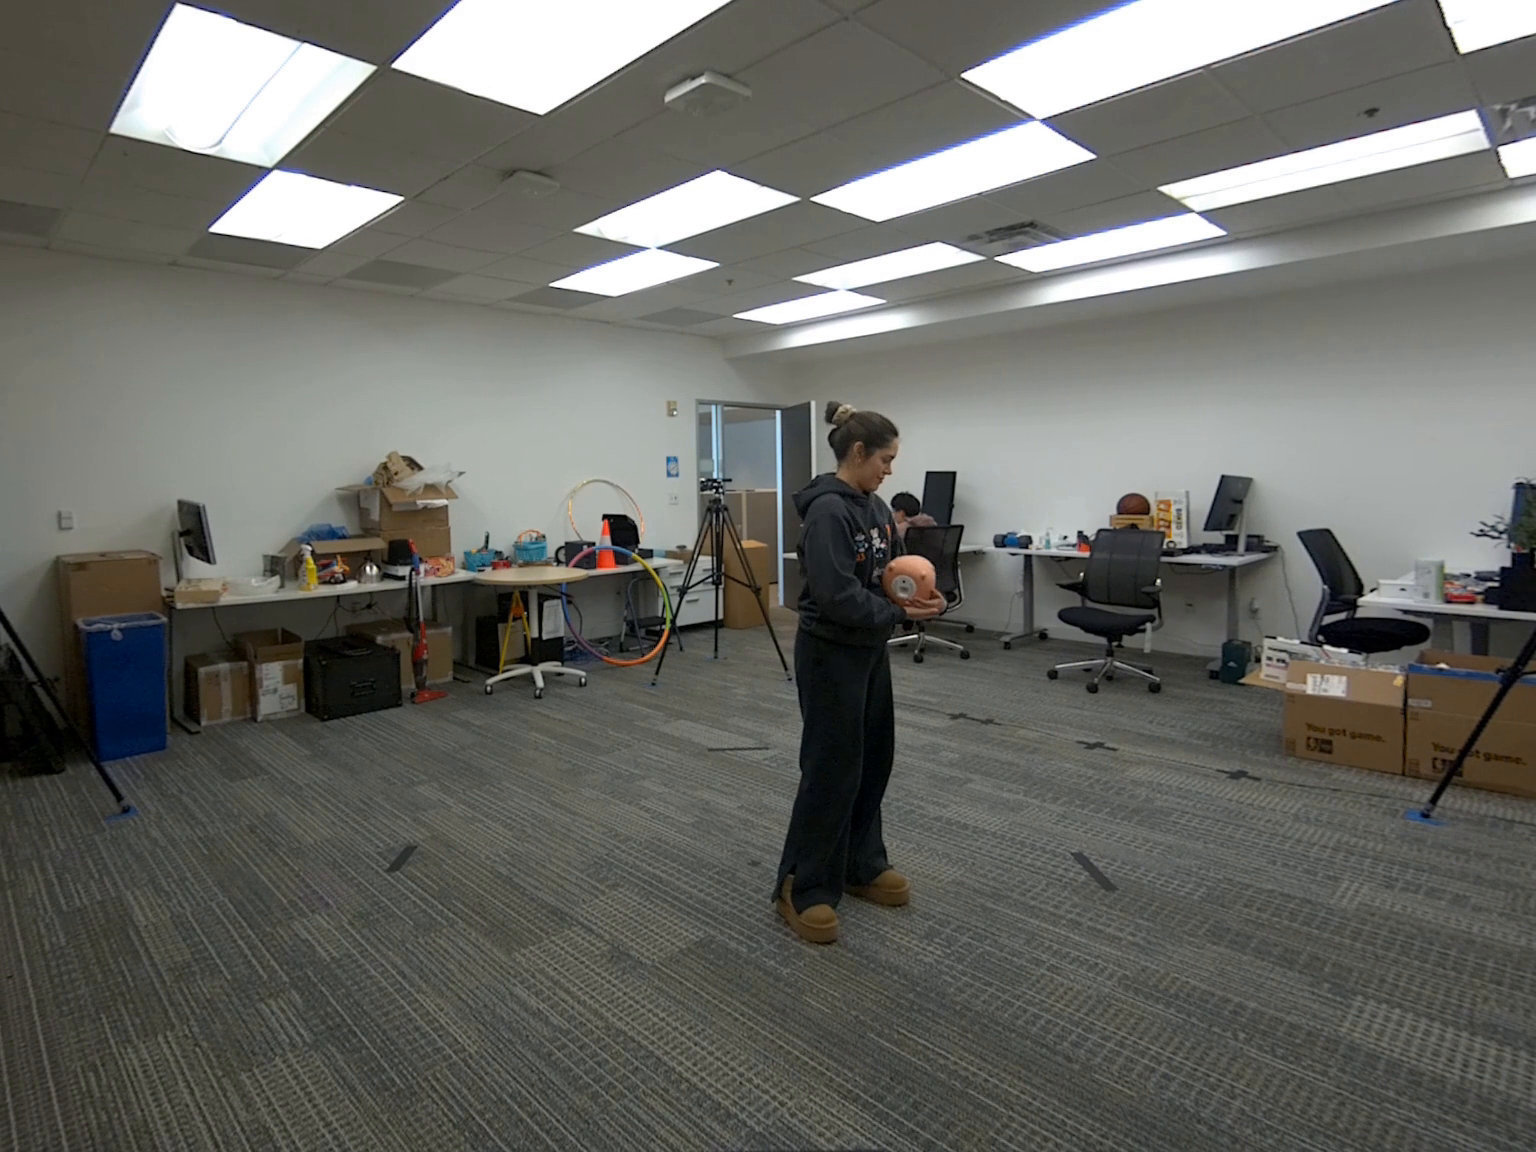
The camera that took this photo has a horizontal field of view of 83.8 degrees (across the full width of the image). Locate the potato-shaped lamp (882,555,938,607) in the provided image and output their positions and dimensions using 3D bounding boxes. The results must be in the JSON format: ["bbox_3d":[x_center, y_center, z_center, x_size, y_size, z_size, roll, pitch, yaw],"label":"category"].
[{"bbox_3d":[0.441,0.005,2.735,0.168,0.168,0.197,14,26,20],"label":"potato-shaped lamp"}]
